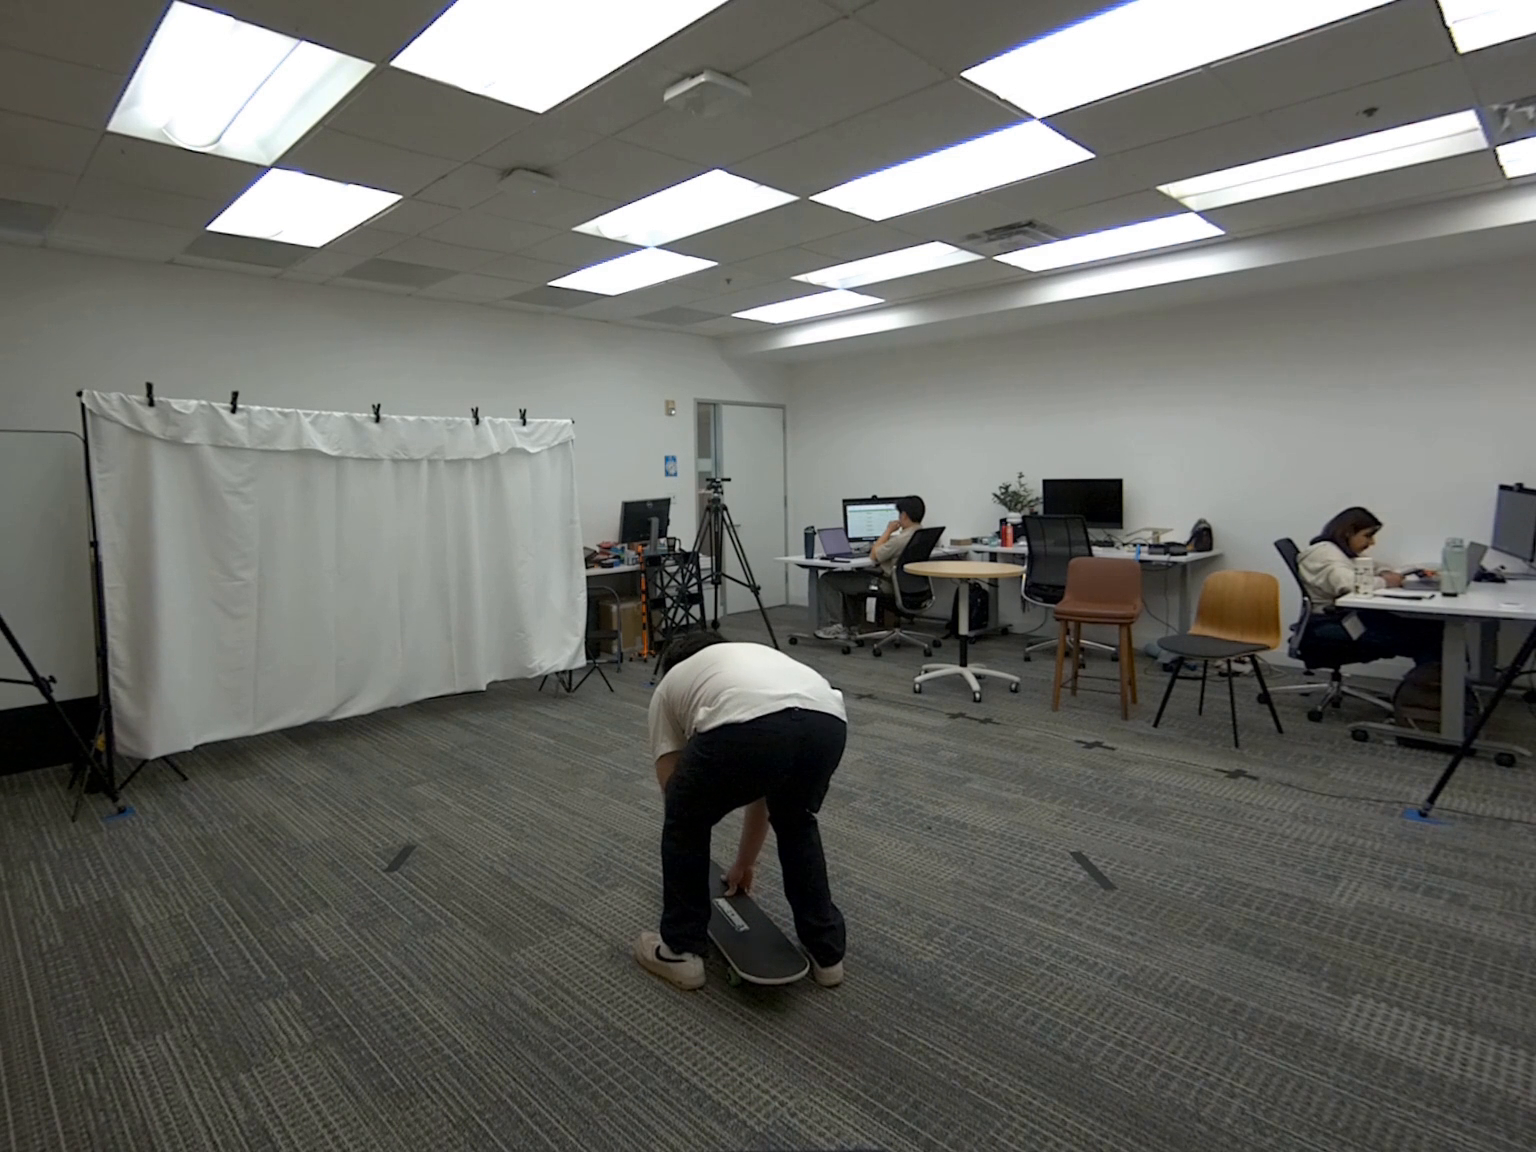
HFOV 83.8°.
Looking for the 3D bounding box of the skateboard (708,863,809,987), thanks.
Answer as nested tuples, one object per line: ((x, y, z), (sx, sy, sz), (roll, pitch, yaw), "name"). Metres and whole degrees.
((-0.102, 1.056, 2.573), (0.190, 0.110, 0.805), (-4, 7, -24), "skateboard")
